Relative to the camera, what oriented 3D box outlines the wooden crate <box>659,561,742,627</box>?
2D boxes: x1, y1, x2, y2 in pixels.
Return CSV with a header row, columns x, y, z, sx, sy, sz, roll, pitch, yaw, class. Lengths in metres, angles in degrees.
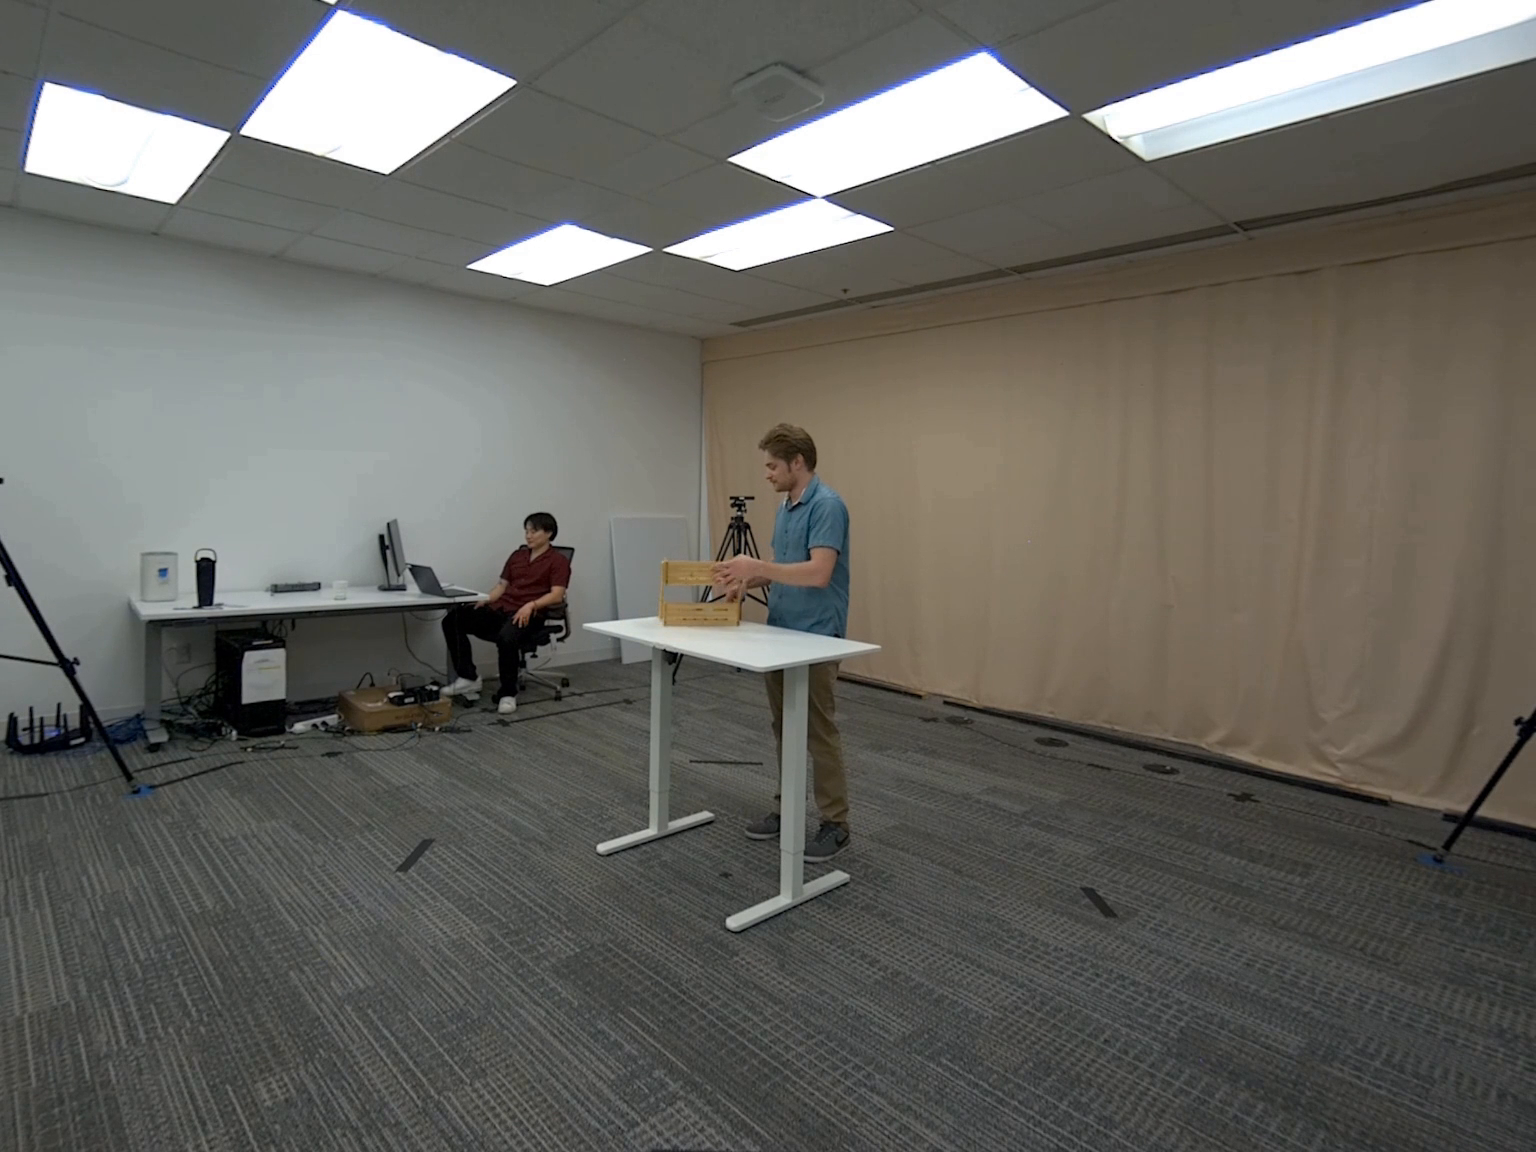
x,y,z,sx,sy,sz,roll,pitch,yaw,class
-0.280,0.055,3.405,0.322,0.272,0.305,1,7,-8,wooden crate
